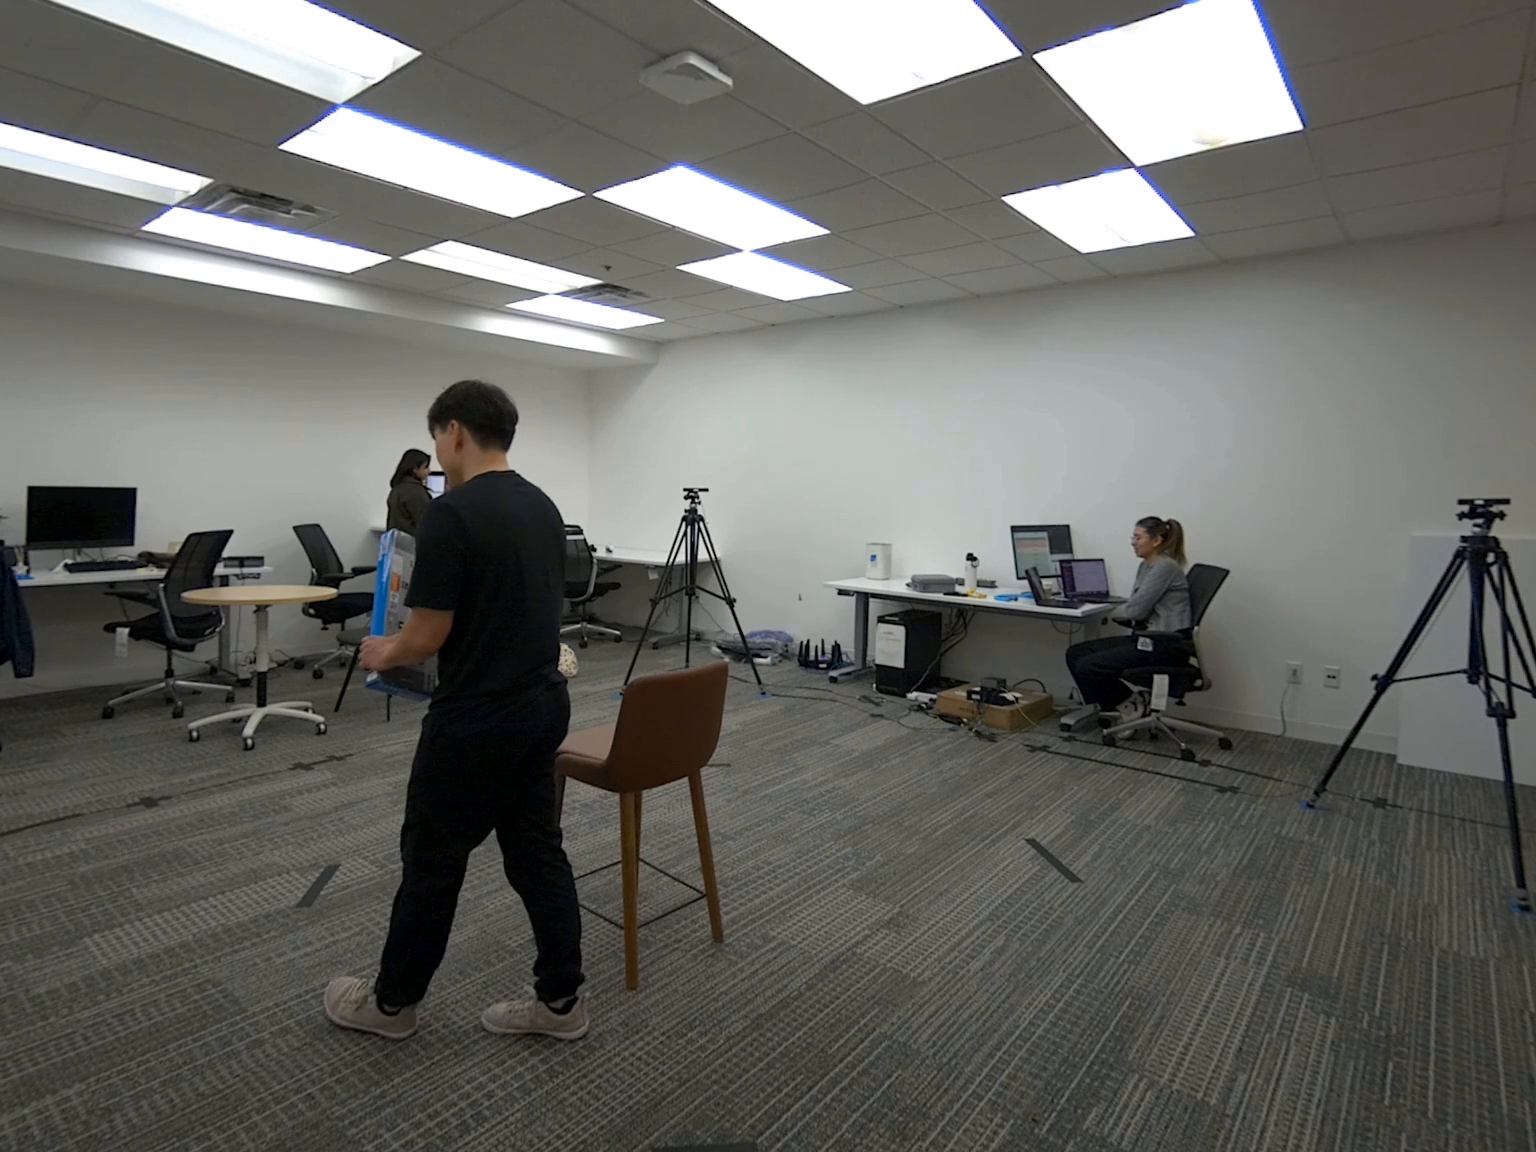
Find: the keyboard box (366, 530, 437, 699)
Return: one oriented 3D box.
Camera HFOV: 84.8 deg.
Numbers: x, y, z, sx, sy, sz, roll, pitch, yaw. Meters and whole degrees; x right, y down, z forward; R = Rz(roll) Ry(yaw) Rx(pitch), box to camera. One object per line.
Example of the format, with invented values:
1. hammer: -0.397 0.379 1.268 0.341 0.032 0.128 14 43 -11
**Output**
1. keyboard box: -0.975 0.097 2.261 0.060 0.449 0.169 -23 -30 25
